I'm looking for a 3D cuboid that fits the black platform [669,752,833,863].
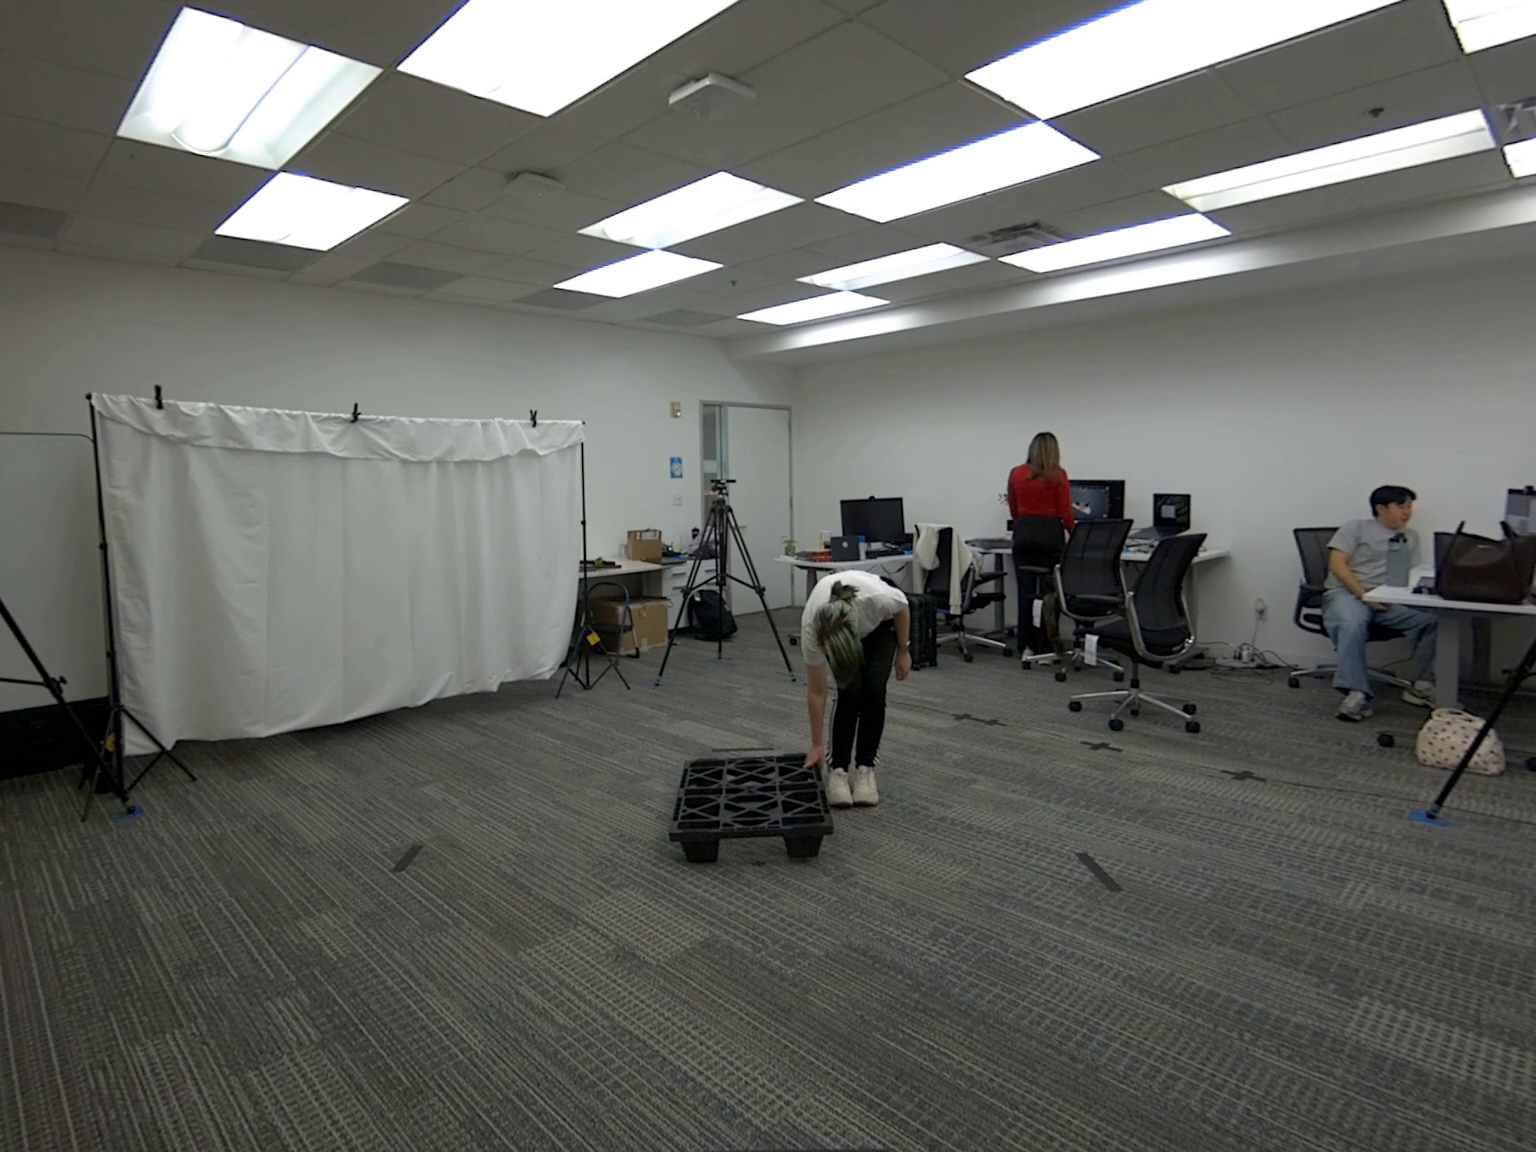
[{"bbox_3d":[-0.069,0.929,3.473,0.606,0.142,0.808,-5,6,1],"label":"black platform"}]
